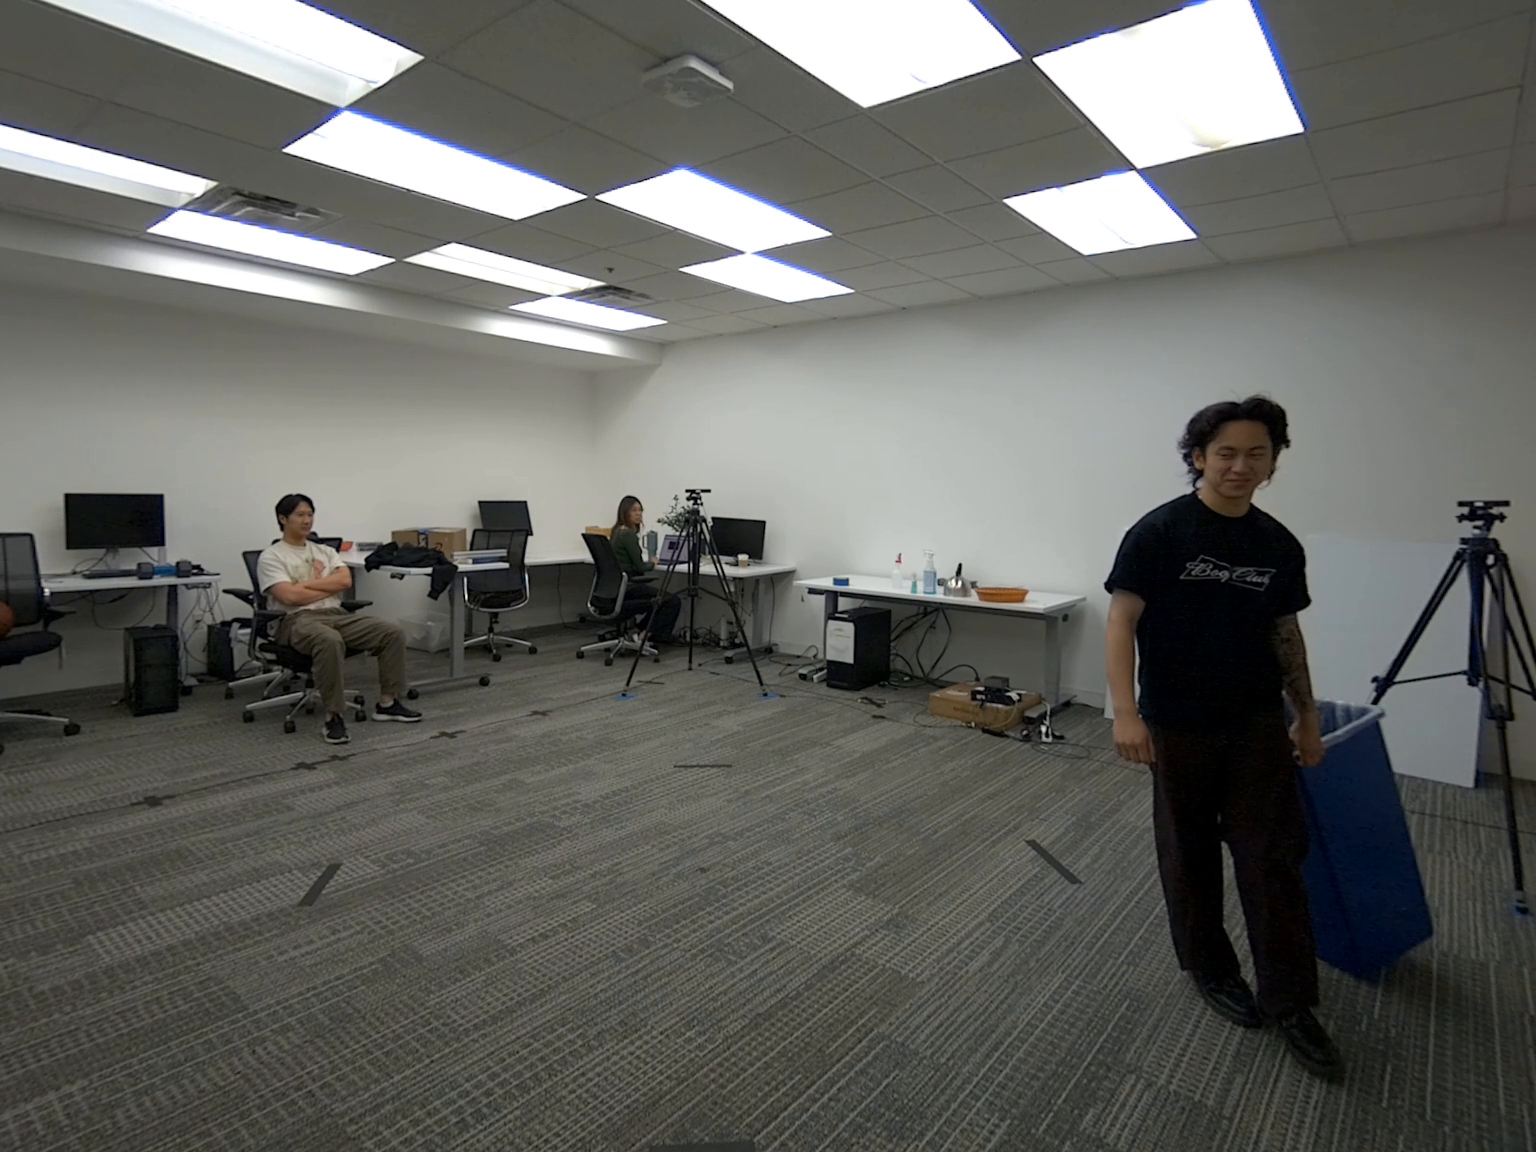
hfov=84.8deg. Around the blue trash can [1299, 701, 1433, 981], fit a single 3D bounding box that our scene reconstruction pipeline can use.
[{"bbox_3d":[1.689,0.776,2.629,0.370,0.711,0.384,-19,4,-16],"label":"blue trash can"}]
